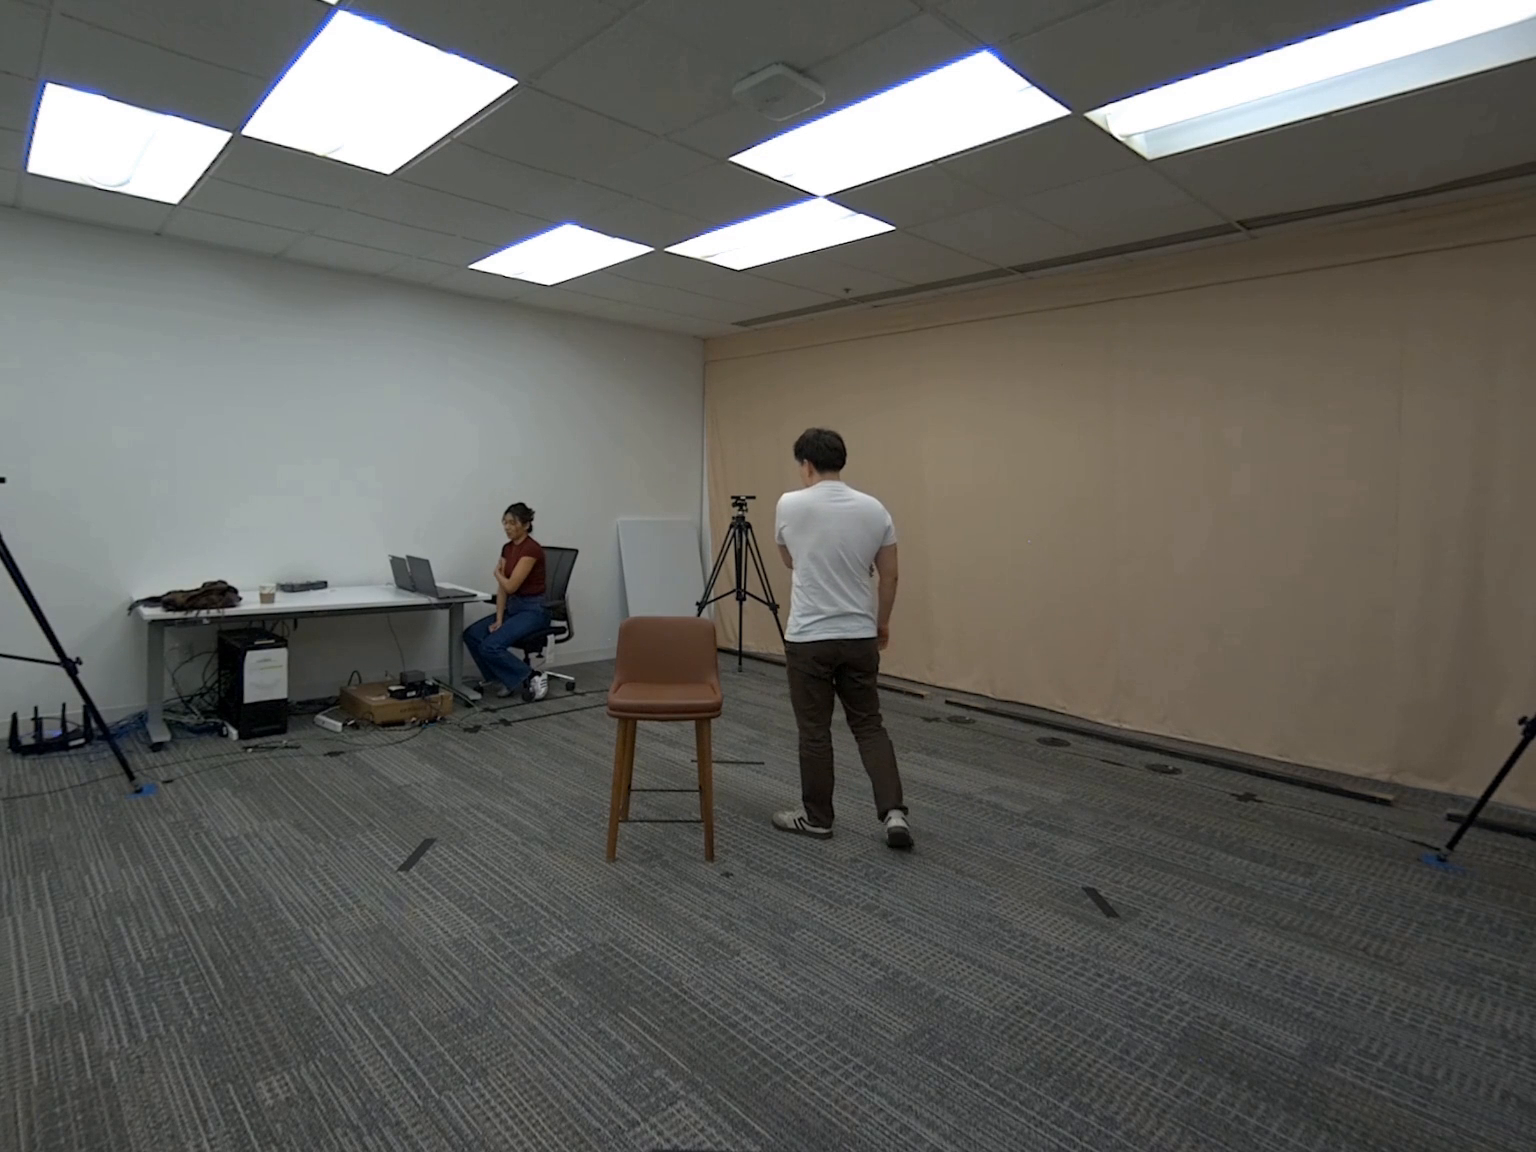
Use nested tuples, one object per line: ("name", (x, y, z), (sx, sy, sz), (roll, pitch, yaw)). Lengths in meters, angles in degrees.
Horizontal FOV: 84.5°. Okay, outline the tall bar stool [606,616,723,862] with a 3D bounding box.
("tall bar stool", (-0.422, 0.635, 3.399), (0.455, 0.889, 0.469), (1, 2, -4))
